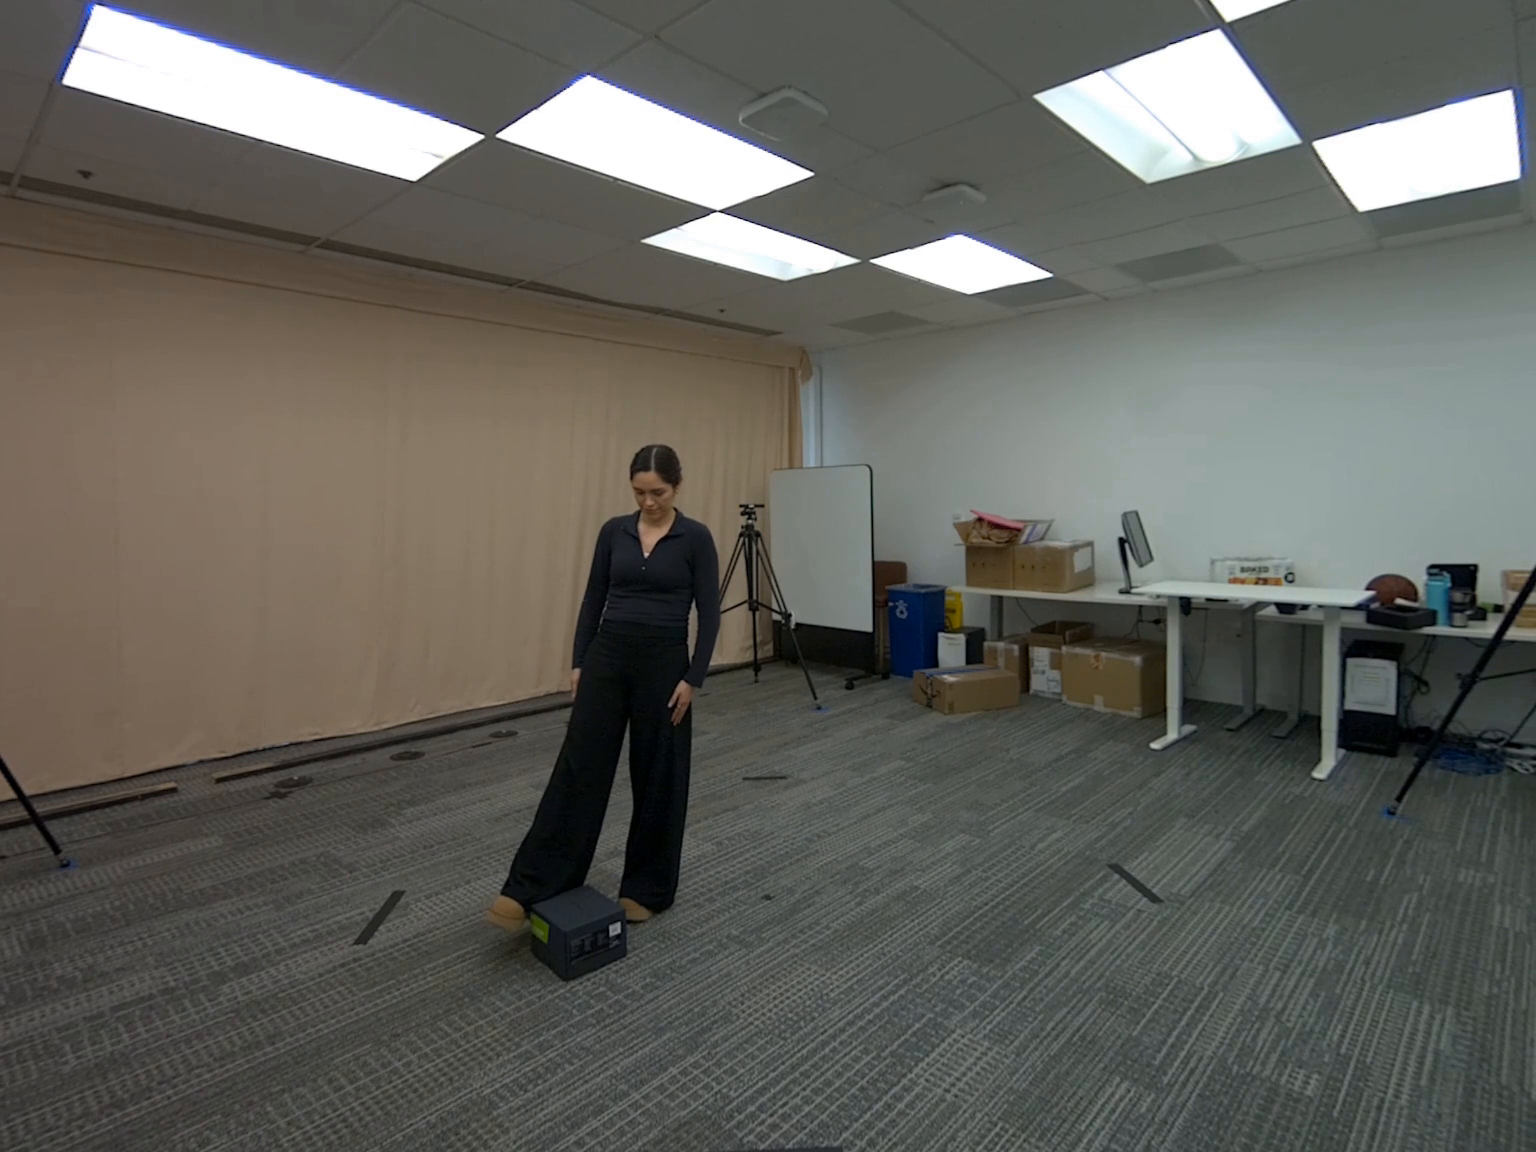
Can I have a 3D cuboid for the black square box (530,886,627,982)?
[{"bbox_3d":[-0.584,1.097,2.621,0.210,0.155,0.235,-6,6,-41],"label":"black square box"}]
